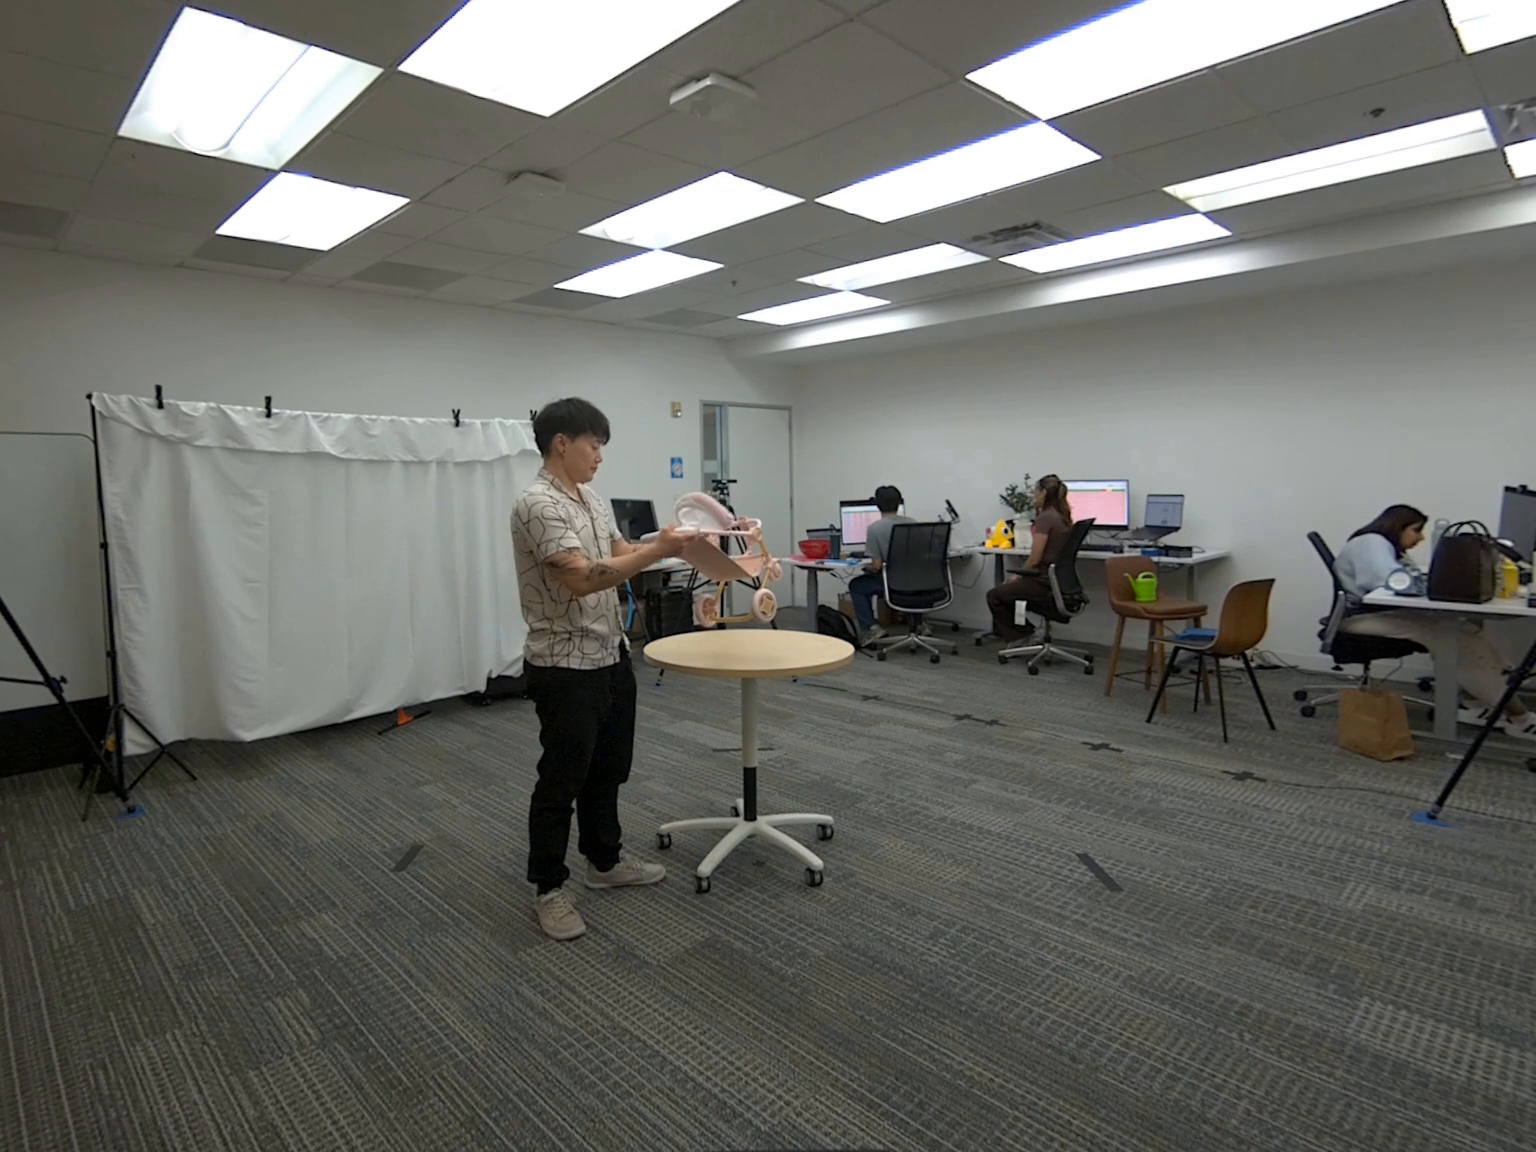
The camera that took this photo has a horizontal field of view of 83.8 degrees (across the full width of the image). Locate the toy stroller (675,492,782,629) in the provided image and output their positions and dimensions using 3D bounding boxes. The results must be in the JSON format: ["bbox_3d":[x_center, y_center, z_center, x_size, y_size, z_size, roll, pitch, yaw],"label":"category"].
[{"bbox_3d":[-0.143,-0.071,2.800,0.289,0.517,0.344,-6,43,43],"label":"toy stroller"}]
